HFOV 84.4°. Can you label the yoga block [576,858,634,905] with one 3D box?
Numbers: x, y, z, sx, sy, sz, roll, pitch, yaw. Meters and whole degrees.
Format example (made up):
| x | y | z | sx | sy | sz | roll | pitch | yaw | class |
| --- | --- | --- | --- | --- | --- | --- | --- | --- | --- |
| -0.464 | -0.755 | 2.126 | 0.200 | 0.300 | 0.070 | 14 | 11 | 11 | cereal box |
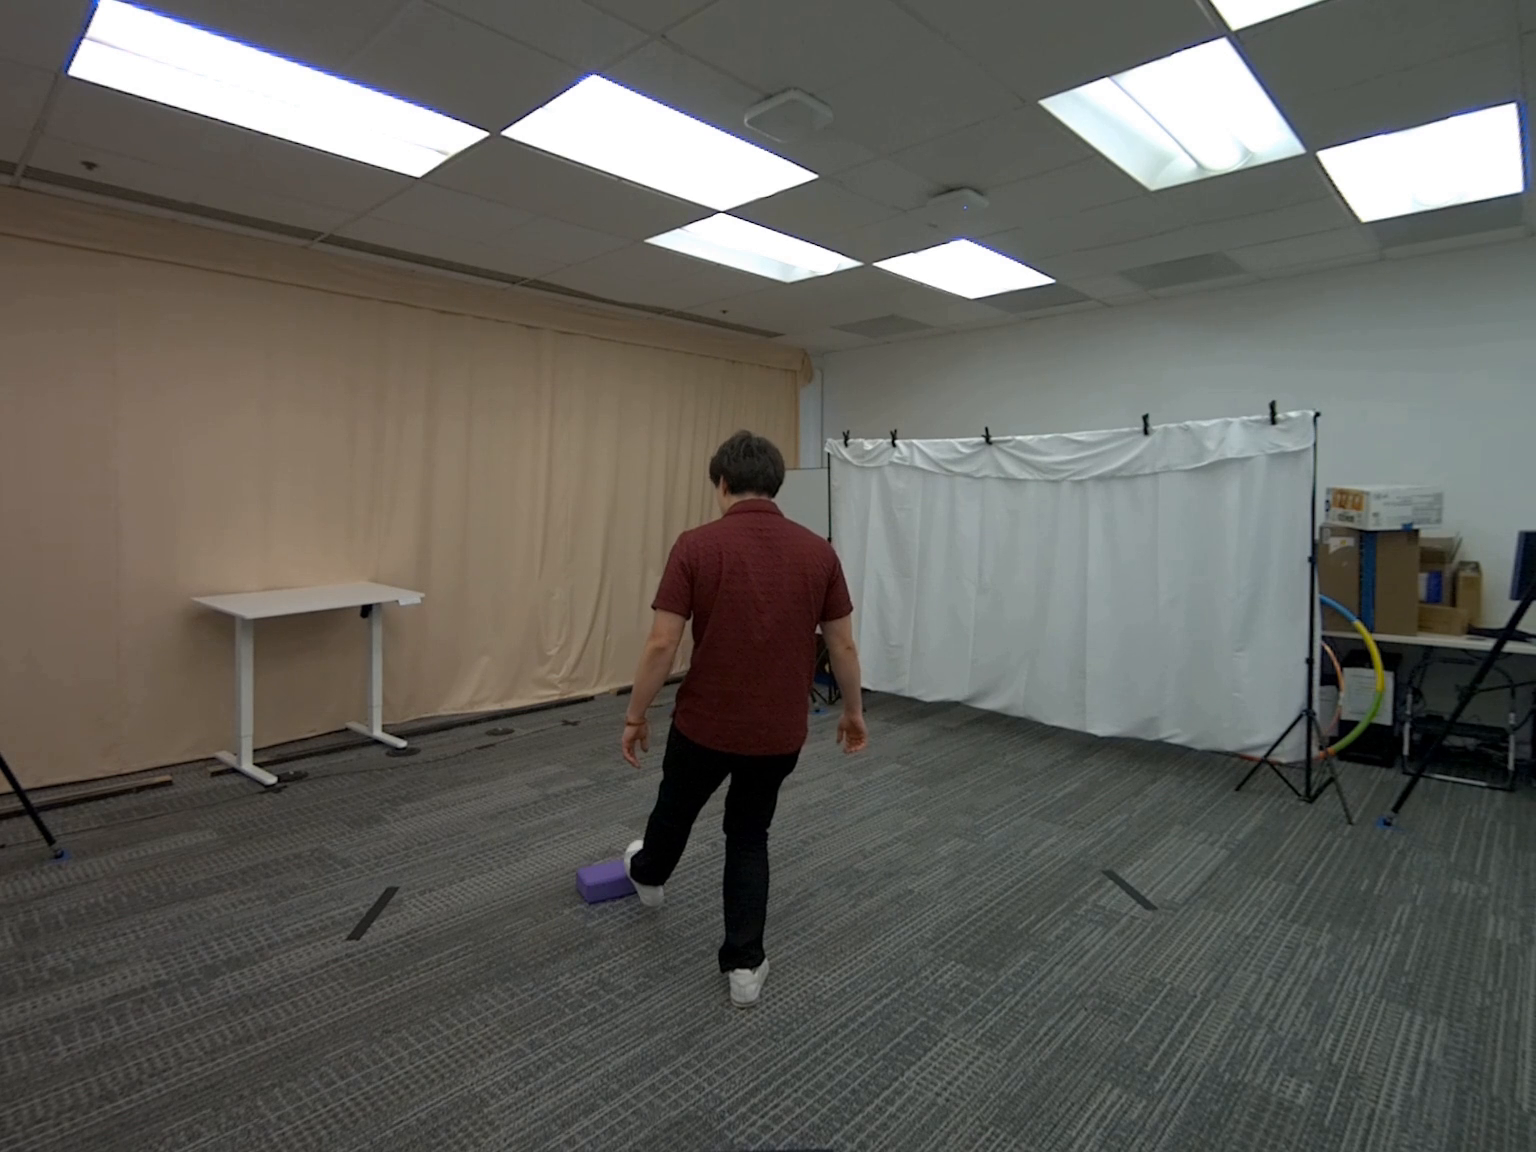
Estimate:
| x | y | z | sx | sy | sz | roll | pitch | yaw | class |
| --- | --- | --- | --- | --- | --- | --- | --- | --- | --- |
| -0.566 | 1.096 | 3.045 | 0.224 | 0.076 | 0.153 | -3 | 4 | -27 | yoga block |
